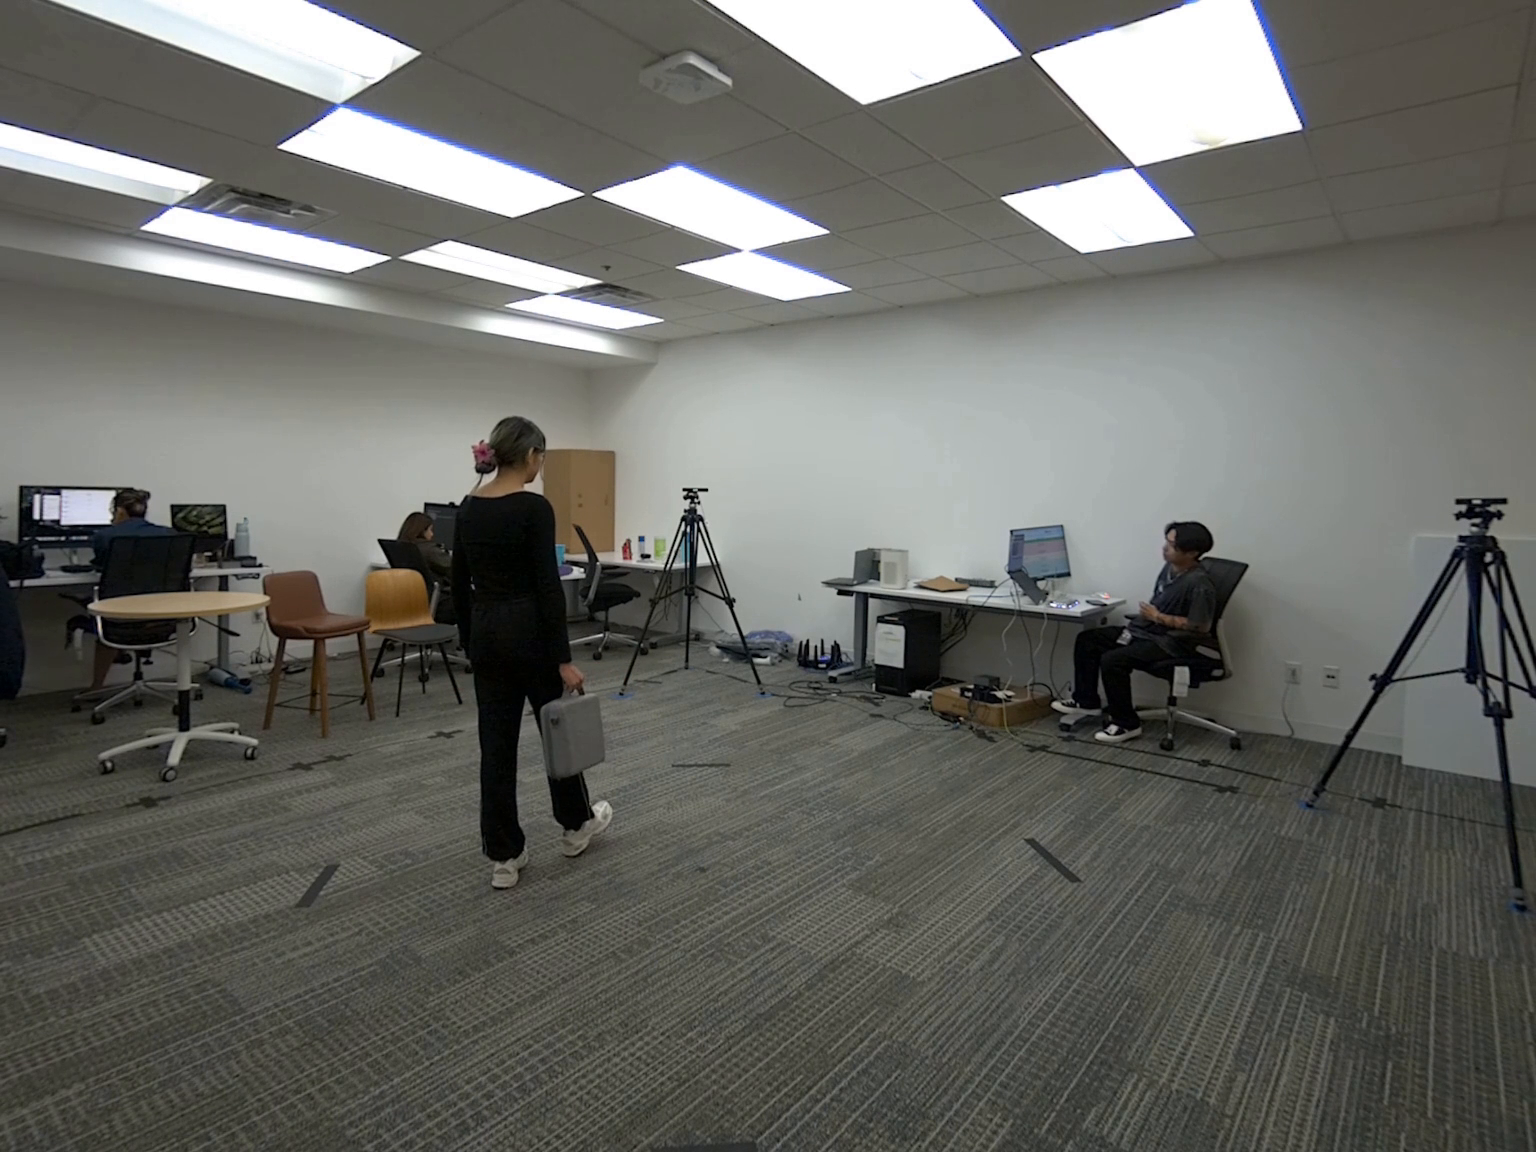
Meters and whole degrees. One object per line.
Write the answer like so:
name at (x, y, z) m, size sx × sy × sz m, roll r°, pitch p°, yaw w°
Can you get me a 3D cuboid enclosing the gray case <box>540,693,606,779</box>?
gray case at (-0.680, 0.543, 2.950) m, size 0.106 × 0.261 × 0.252 m, roll -5°, pitch -1°, yaw 17°
